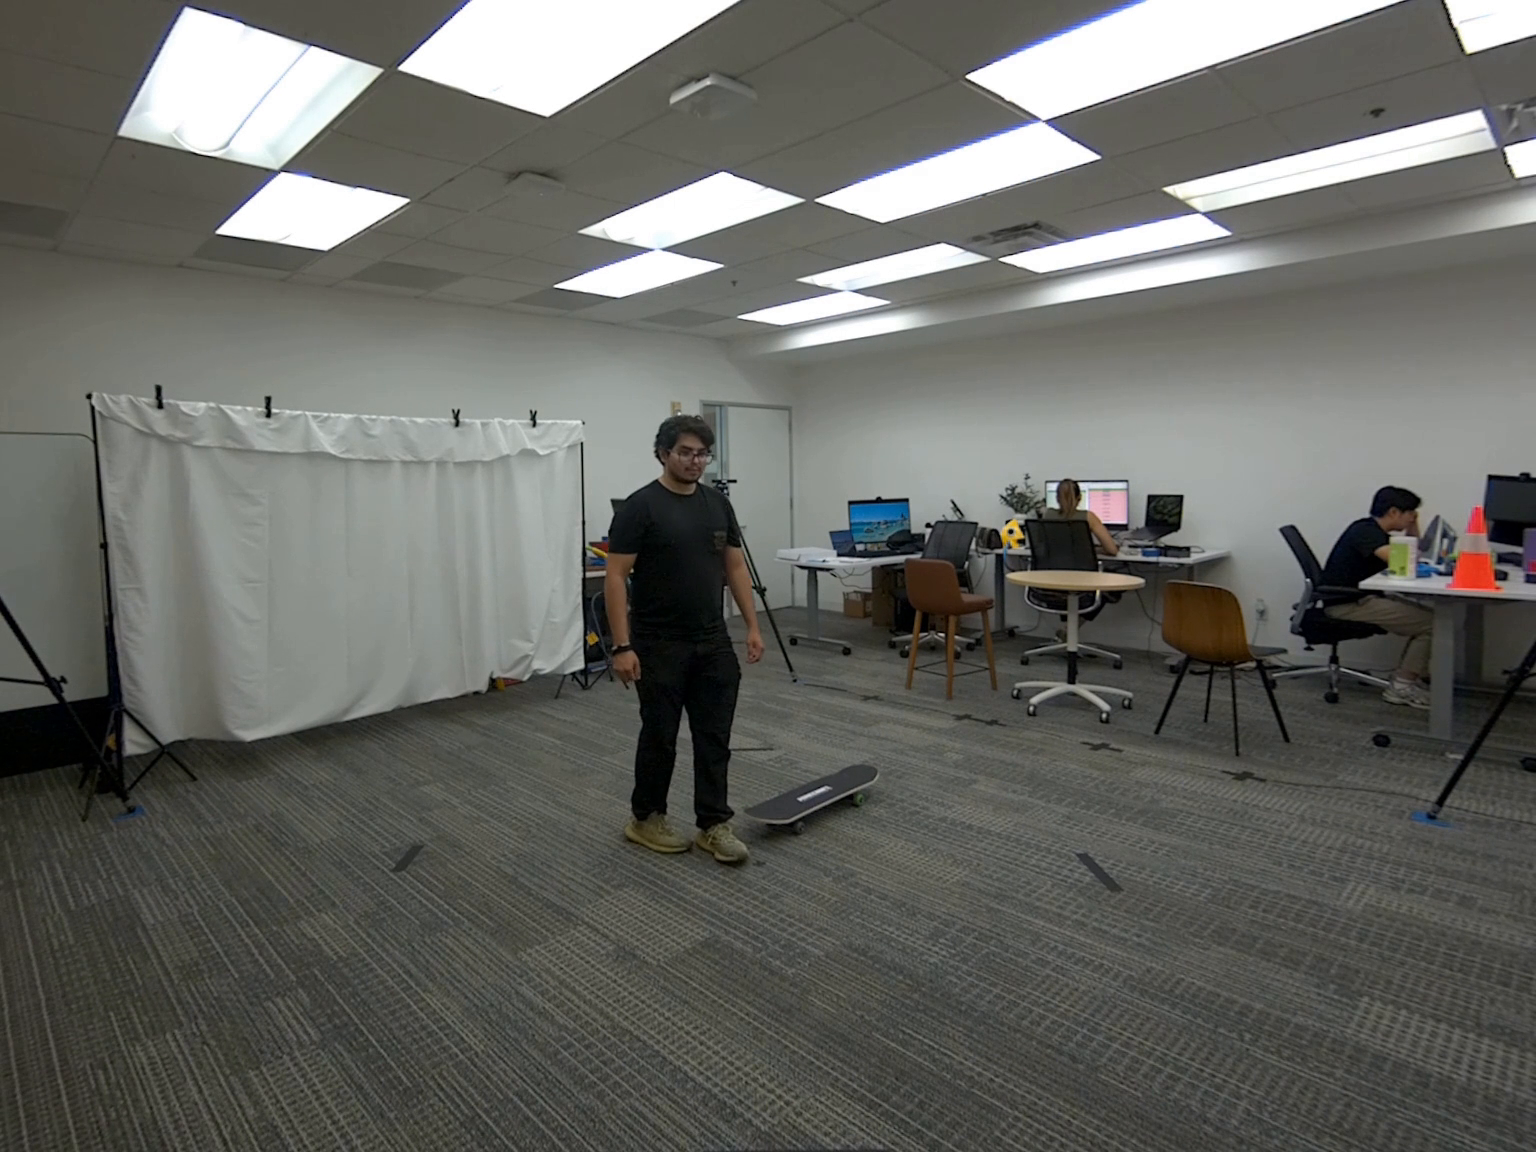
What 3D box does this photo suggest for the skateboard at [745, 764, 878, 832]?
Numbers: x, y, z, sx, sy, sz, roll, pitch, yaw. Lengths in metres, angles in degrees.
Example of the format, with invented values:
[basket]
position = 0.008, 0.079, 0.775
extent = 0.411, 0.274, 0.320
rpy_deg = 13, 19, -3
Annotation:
[skateboard]
position = 0.196, 0.936, 3.557
extent = 0.199, 0.110, 0.765
rpy_deg = 4, 8, 42
